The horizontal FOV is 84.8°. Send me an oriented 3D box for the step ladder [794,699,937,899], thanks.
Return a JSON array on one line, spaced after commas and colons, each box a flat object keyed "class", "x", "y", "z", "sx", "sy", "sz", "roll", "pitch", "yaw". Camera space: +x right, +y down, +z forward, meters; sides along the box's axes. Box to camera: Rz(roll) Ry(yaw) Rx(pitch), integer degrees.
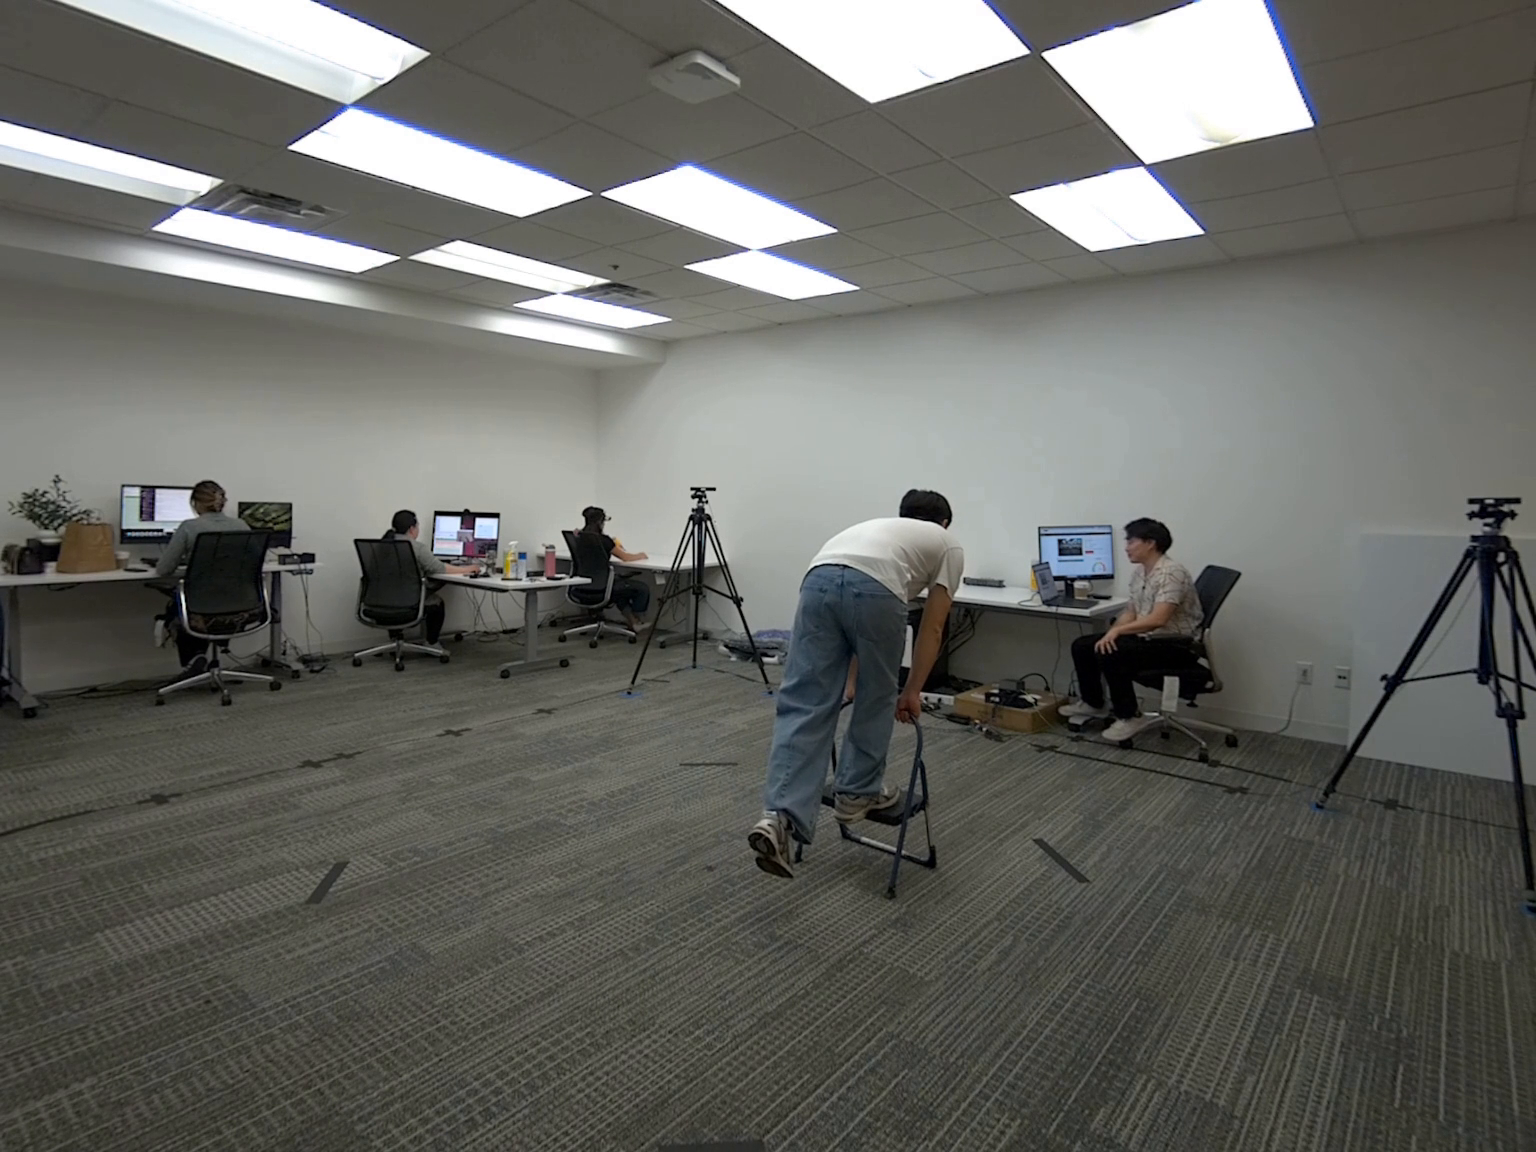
[{"class": "step ladder", "x": 0.363, "y": 0.771, "z": 3.161, "sx": 0.445, "sy": 0.604, "sz": 0.339, "roll": 4, "pitch": 5, "yaw": 39}]
